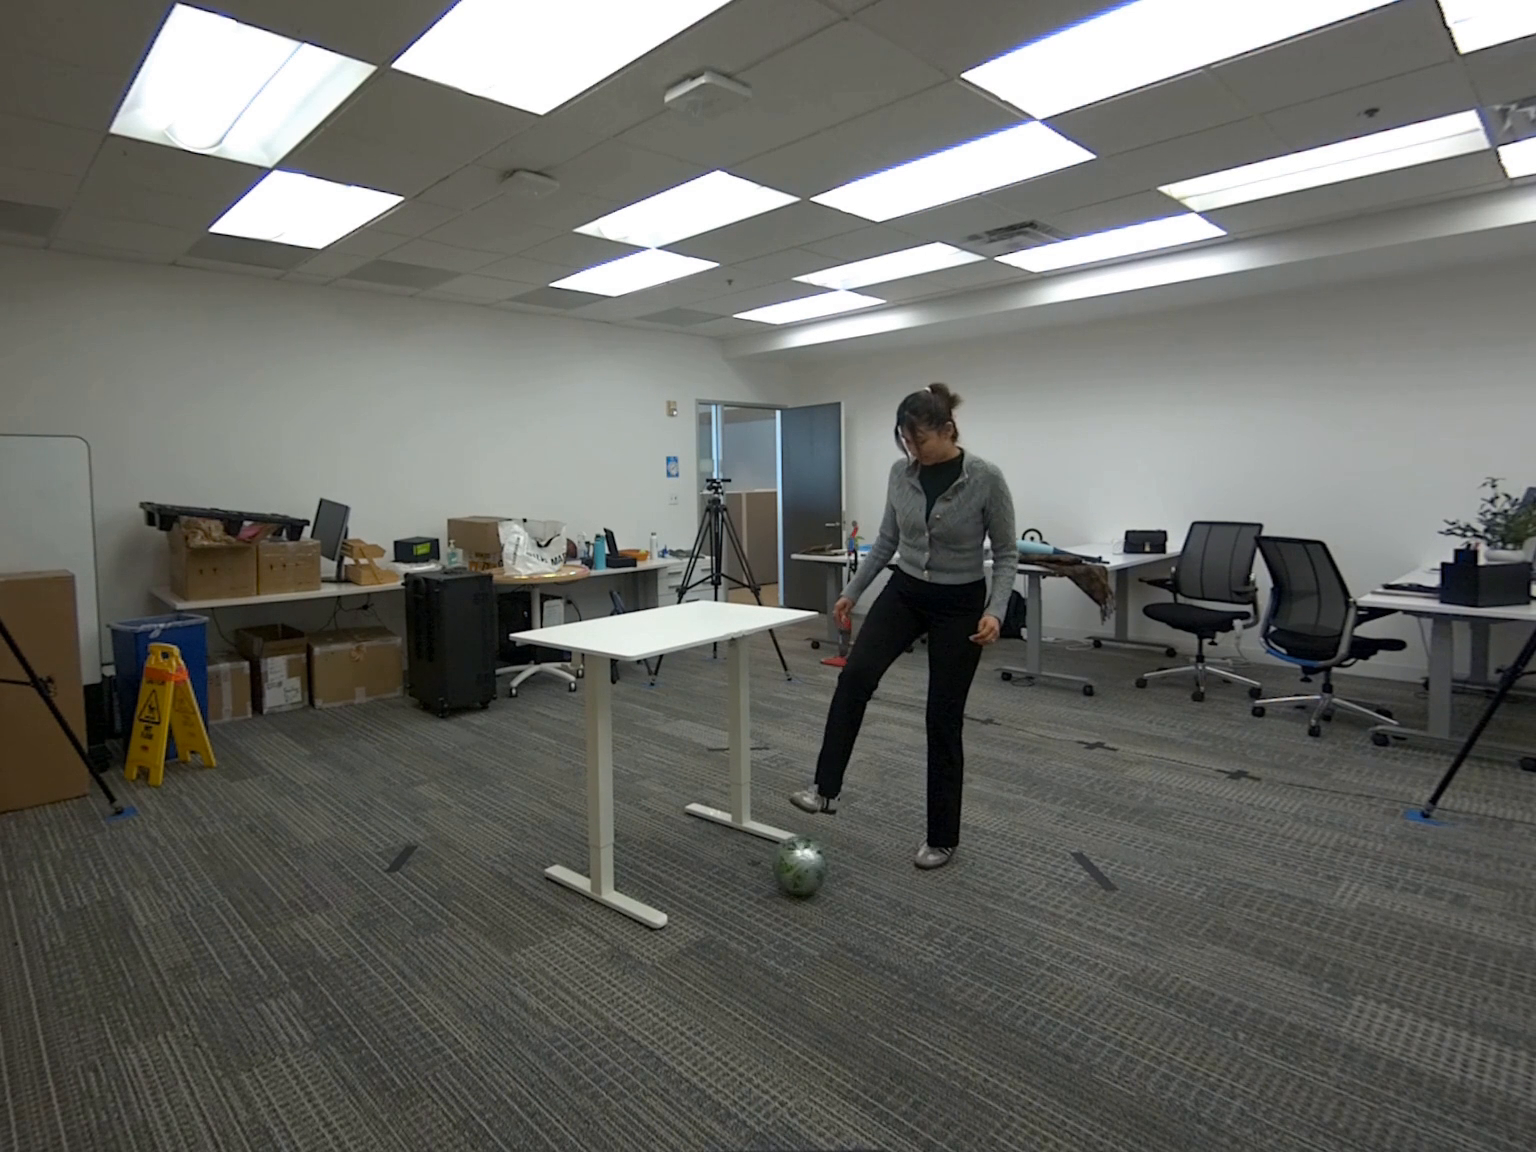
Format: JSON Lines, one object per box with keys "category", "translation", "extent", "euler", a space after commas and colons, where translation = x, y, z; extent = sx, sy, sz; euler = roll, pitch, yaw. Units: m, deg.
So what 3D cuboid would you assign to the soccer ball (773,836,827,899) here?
{"category": "soccer ball", "translation": [0.109, 0.973, 2.867], "extent": [0.187, 0.187, 0.188], "euler": [-1, 5, -2]}
